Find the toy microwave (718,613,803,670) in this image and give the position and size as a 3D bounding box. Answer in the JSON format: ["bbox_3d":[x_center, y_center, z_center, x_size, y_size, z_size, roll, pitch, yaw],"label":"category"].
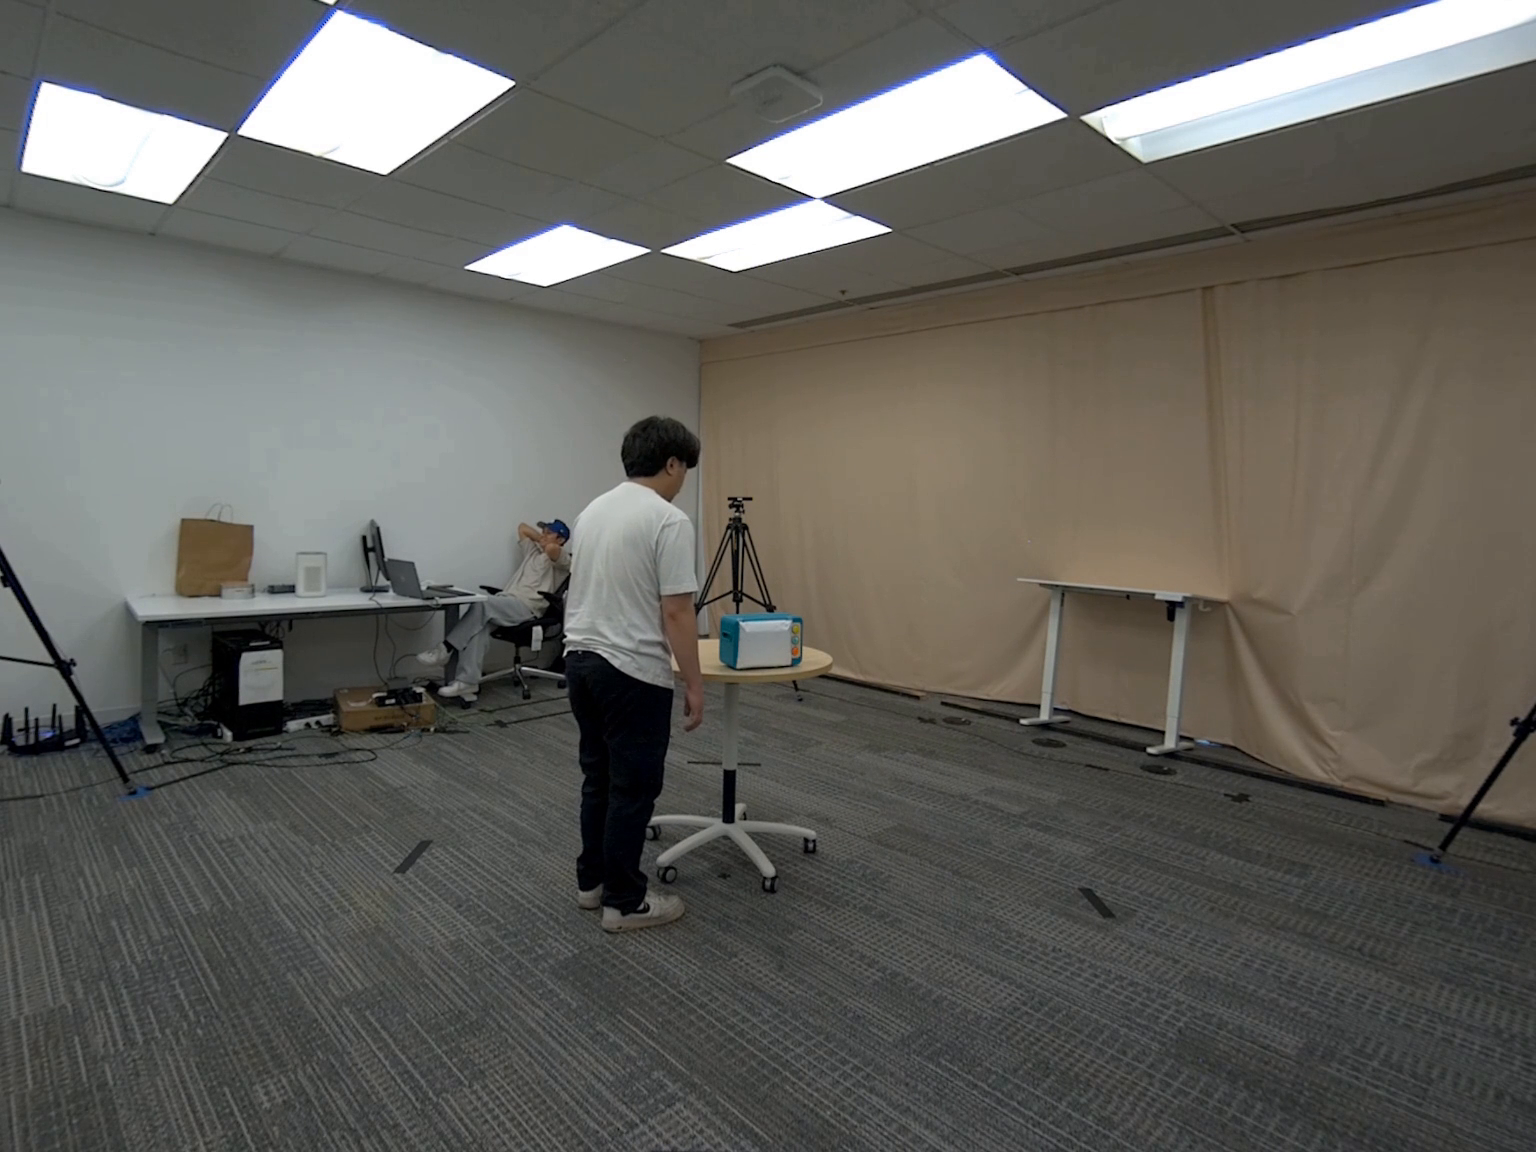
[{"bbox_3d":[-0.025,0.232,3.014,0.281,0.184,0.155,-1,4,-26],"label":"toy microwave"}]
